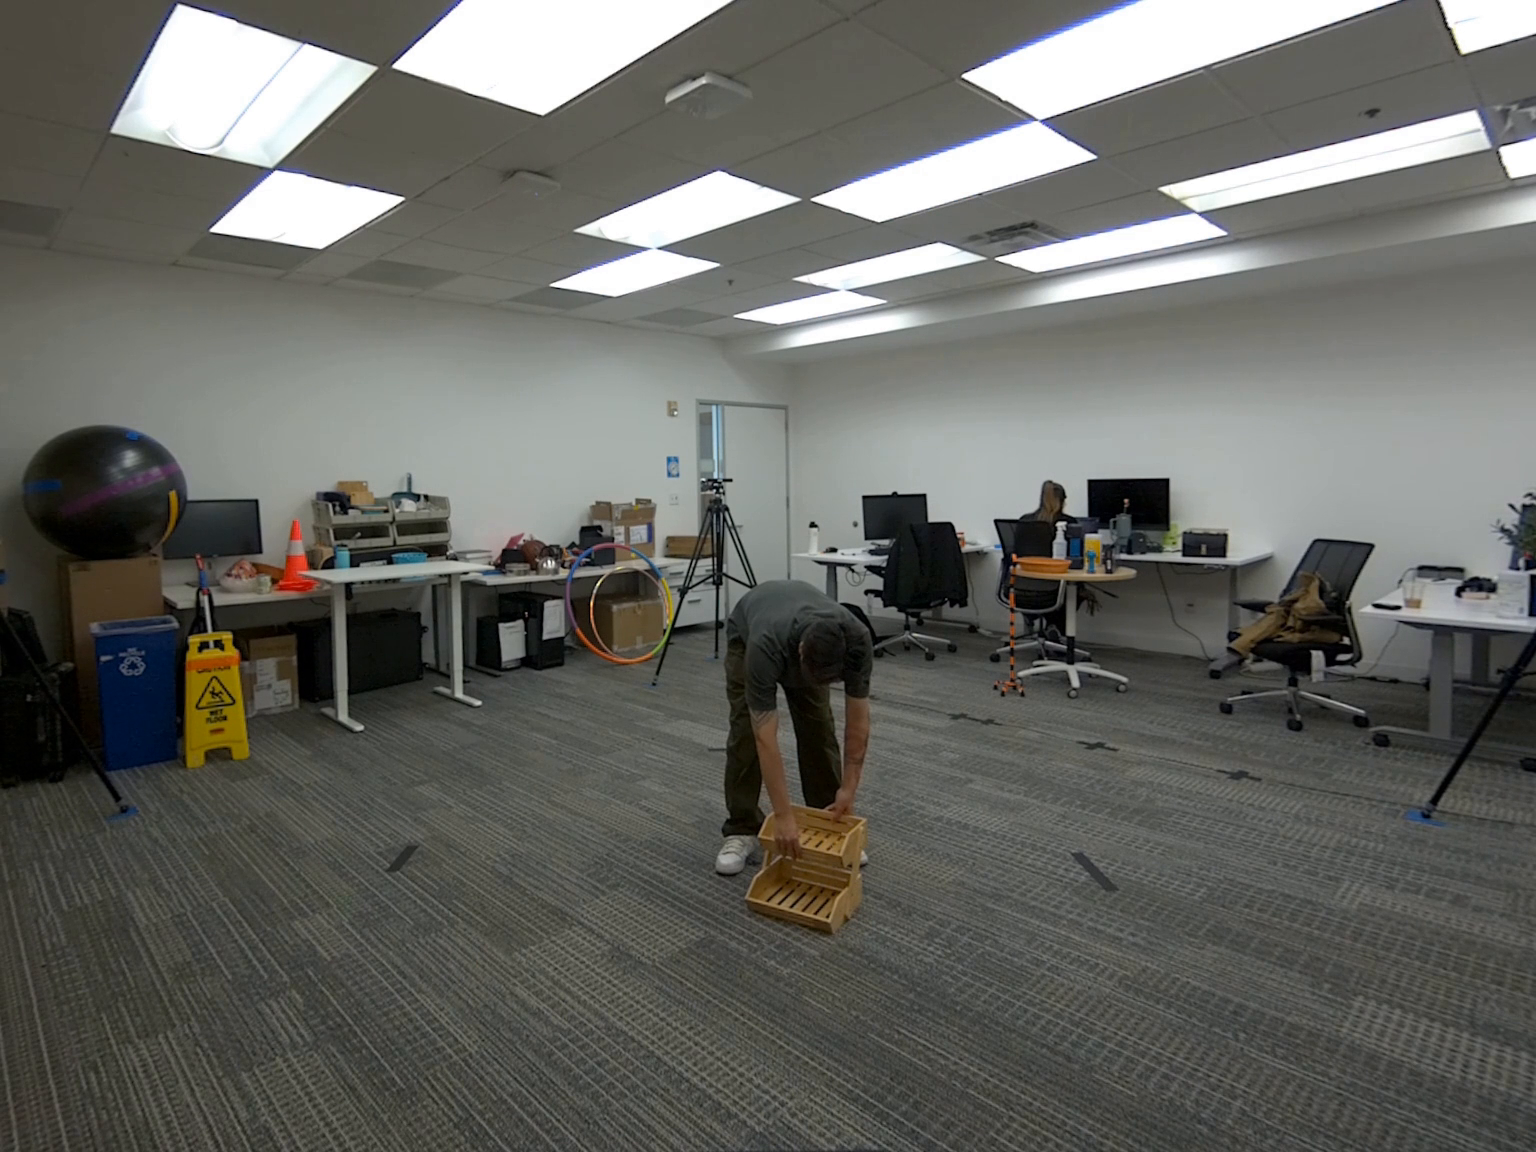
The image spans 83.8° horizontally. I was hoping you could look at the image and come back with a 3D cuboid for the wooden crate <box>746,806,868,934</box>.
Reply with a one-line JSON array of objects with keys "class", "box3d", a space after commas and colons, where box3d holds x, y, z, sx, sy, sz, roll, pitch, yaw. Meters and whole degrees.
[{"class": "wooden crate", "box3d": [0.135, 0.948, 2.791, 0.333, 0.272, 0.295, 2, 6, 30]}]
